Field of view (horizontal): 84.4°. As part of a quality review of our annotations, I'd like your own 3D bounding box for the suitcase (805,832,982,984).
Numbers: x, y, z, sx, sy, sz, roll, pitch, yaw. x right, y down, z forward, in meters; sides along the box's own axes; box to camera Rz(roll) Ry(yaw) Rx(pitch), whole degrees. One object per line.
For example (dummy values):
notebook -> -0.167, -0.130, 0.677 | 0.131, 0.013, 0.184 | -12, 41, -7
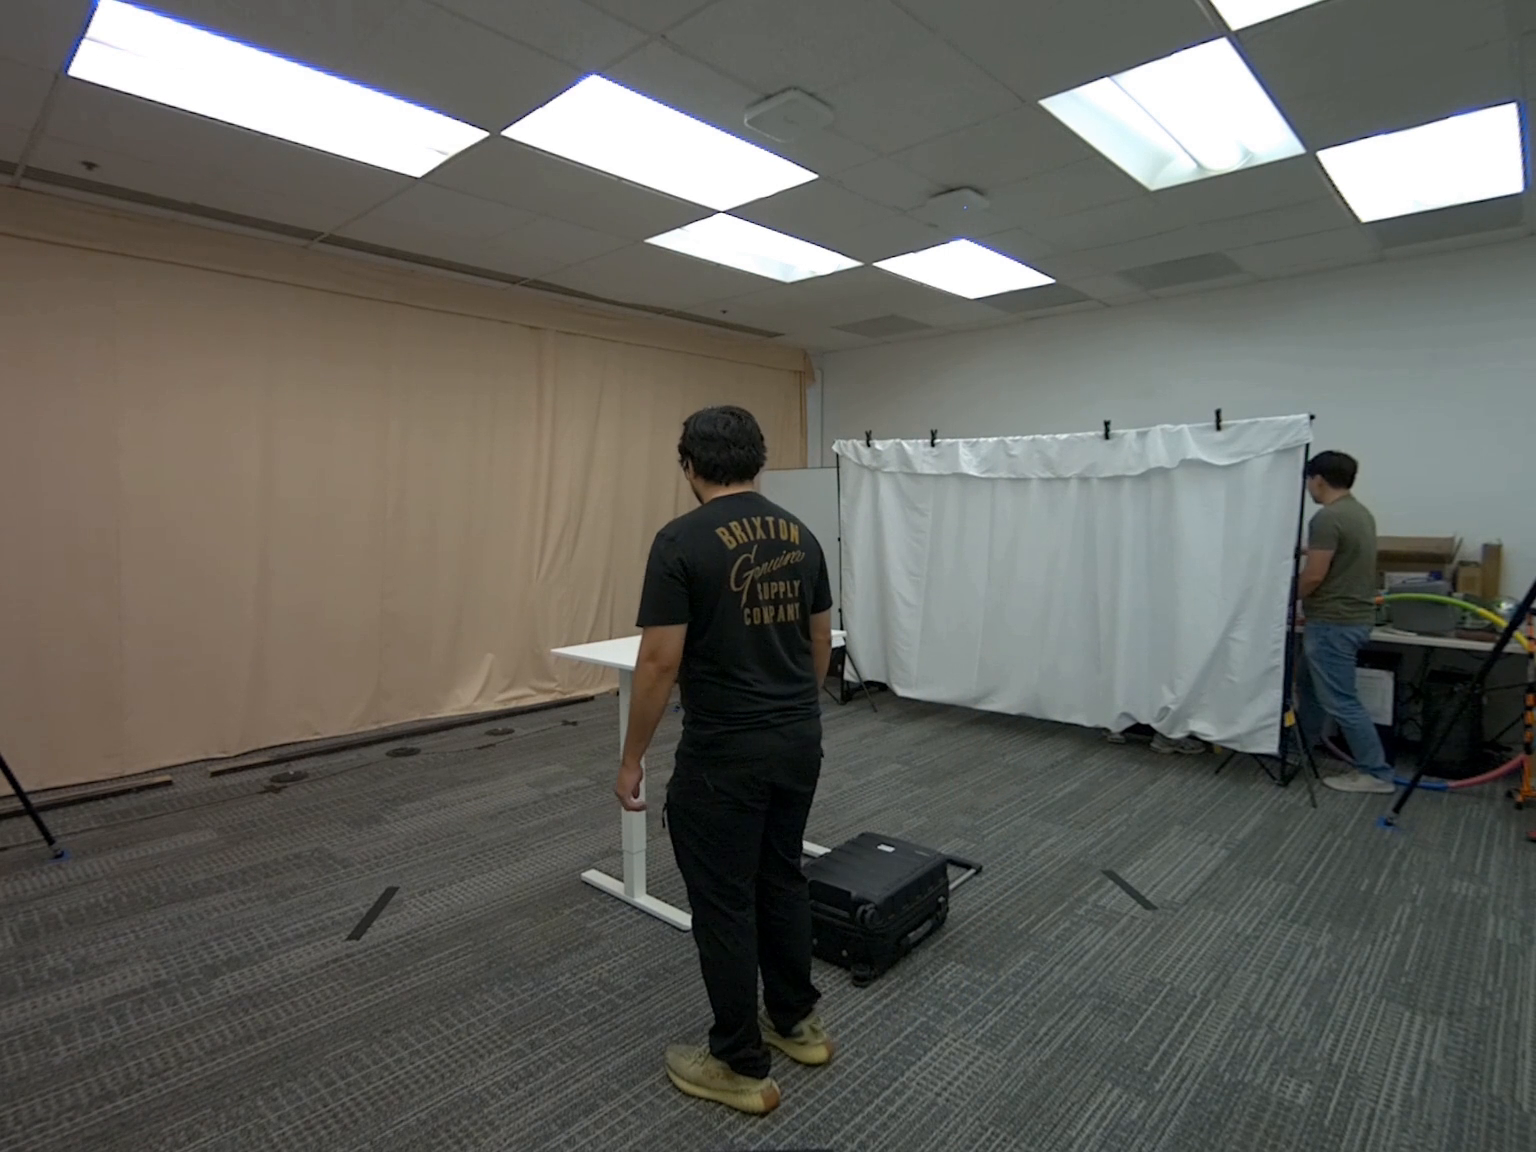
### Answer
suitcase -> 0.457, 1.027, 2.873 | 0.396, 0.256, 0.950 | 2, 6, 38
